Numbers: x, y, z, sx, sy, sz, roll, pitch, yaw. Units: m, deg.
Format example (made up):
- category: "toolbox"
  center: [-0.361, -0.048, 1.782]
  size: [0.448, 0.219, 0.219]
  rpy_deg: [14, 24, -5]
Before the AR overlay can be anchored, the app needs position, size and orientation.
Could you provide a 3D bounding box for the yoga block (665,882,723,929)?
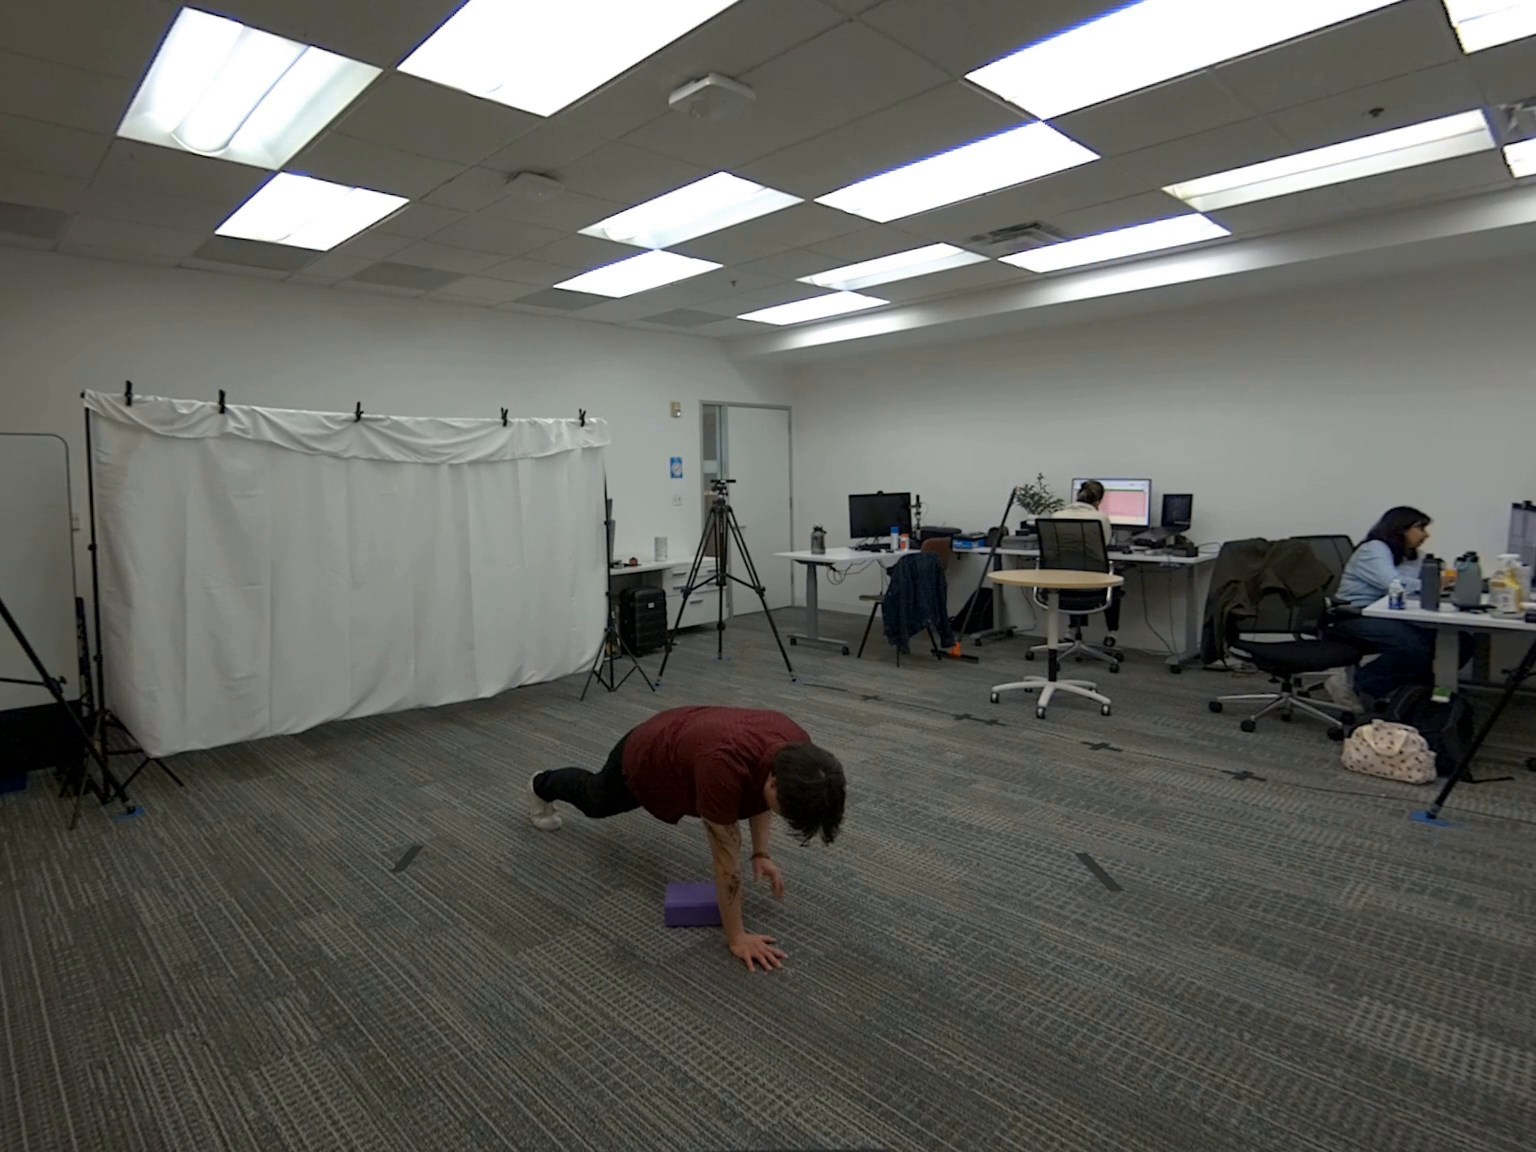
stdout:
- category: "yoga block"
  center: [-0.210, 1.052, 2.743]
  size: [0.229, 0.076, 0.150]
  rpy_deg: [0, 6, -1]
